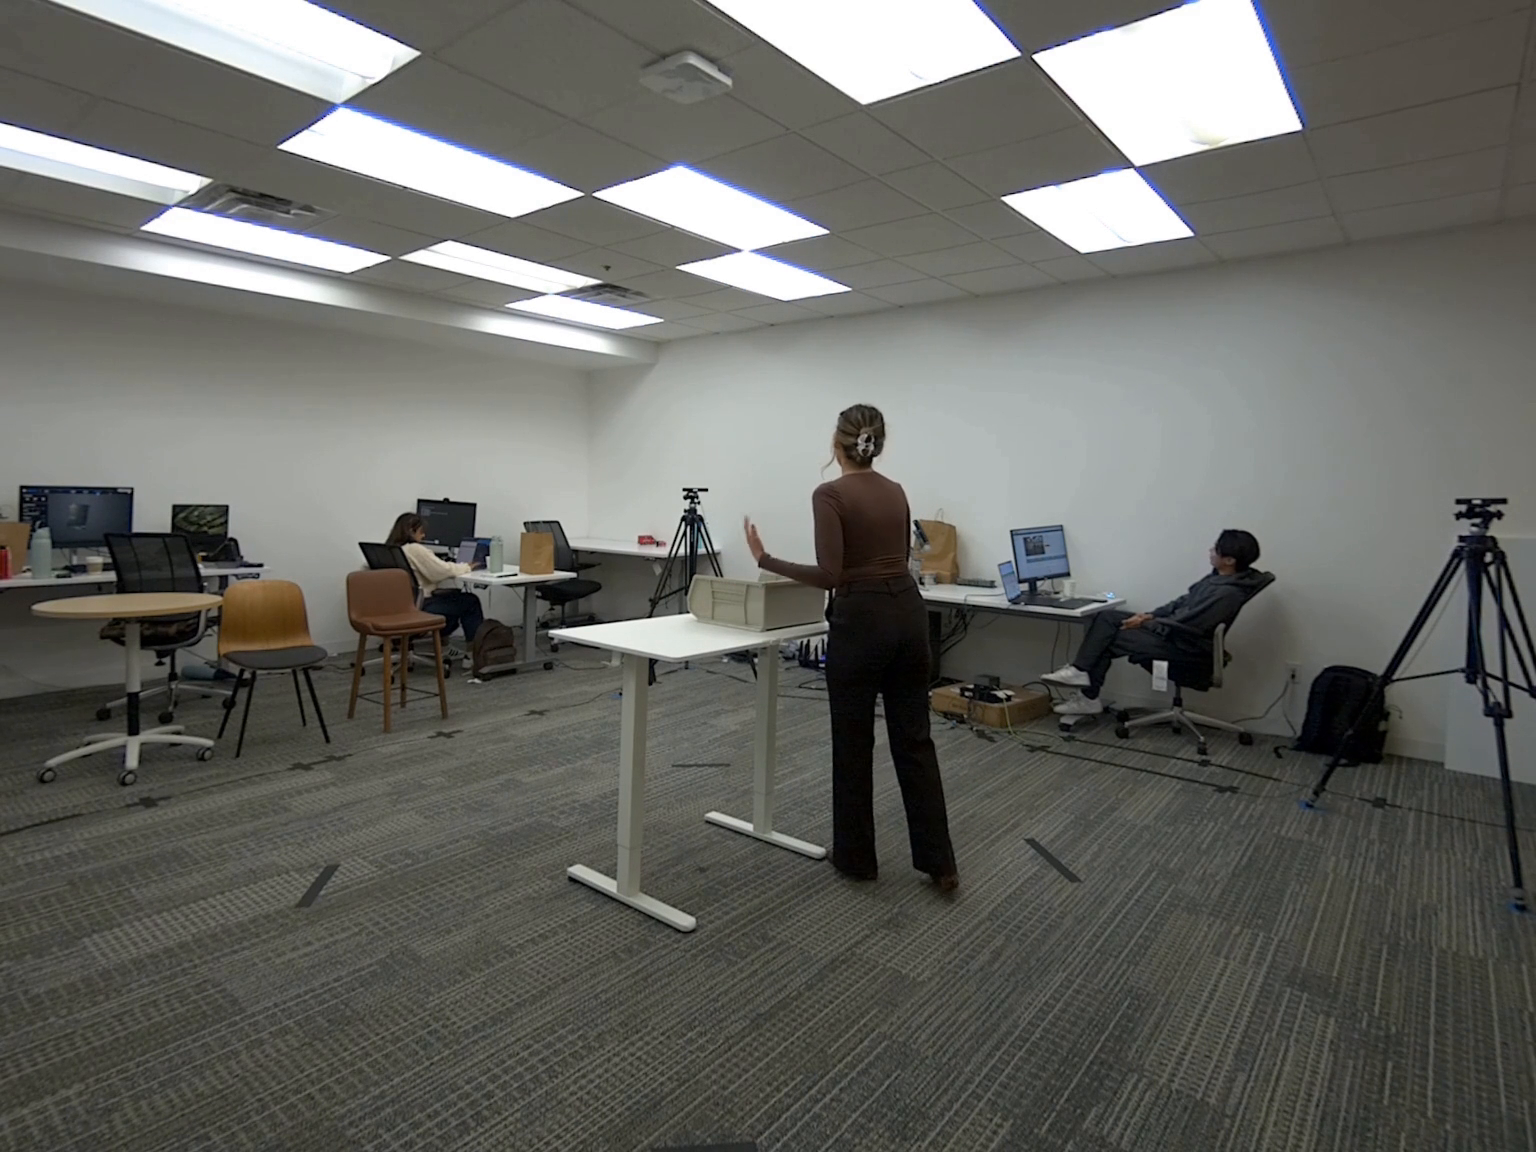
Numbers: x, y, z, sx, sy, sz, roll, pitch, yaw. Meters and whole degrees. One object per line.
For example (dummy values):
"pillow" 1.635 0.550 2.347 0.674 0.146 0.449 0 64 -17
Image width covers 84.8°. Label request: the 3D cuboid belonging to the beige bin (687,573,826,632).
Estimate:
"beige bin" -0.044 0.086 3.294 0.390 0.188 0.409 7 6 40
